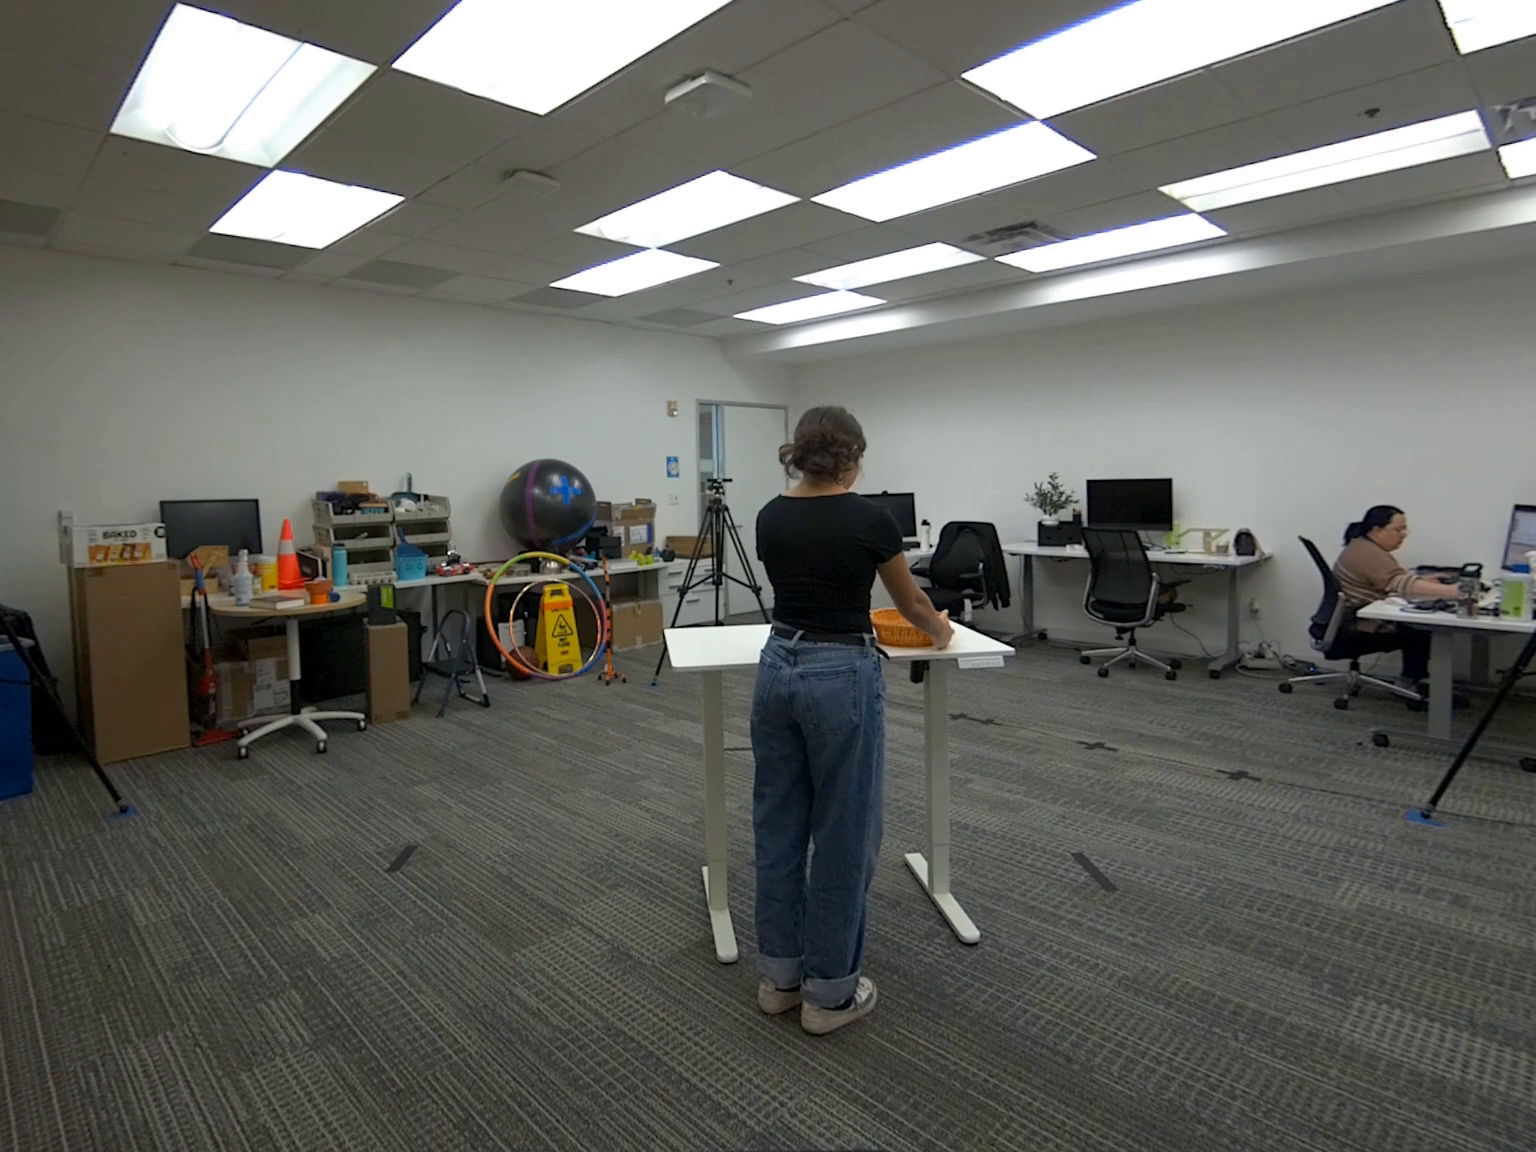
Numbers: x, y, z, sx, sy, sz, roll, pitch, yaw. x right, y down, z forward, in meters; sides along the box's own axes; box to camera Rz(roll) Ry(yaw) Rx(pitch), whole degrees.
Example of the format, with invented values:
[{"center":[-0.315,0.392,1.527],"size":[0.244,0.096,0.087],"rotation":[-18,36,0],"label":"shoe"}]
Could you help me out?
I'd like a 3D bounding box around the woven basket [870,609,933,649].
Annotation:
[{"center":[0.453,0.172,2.683],"size":[0.254,0.073,0.349],"rotation":[1,6,7],"label":"woven basket"}]
